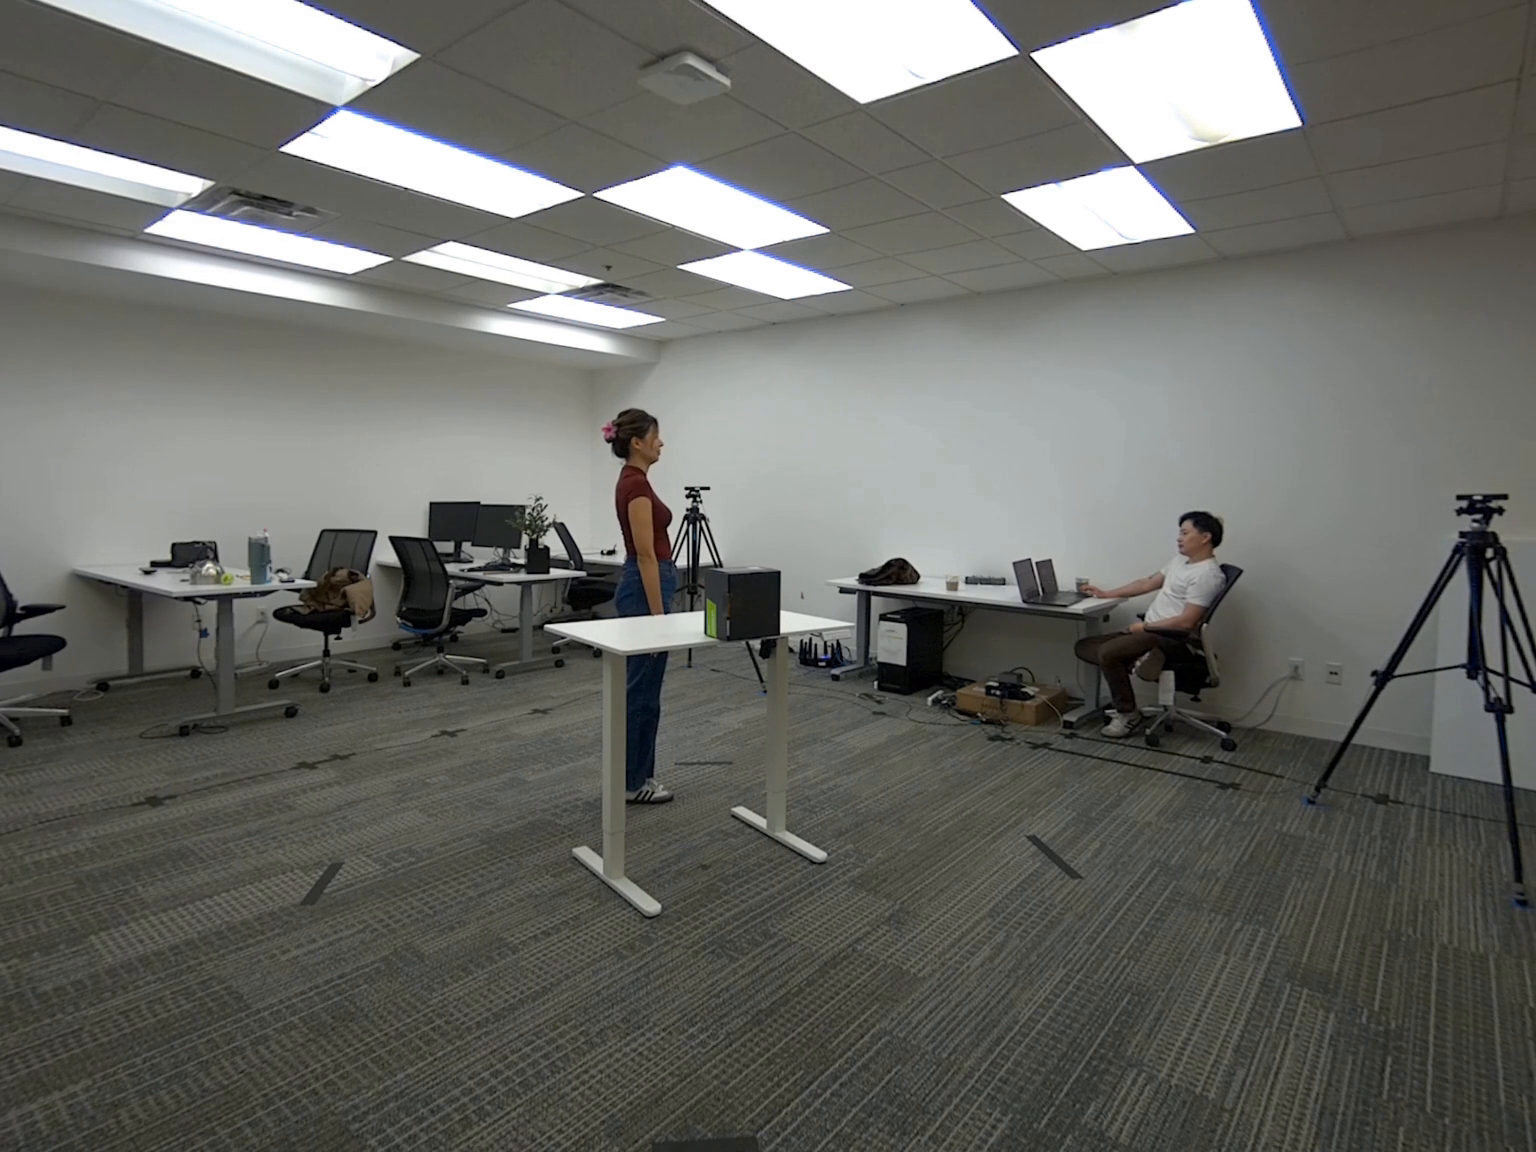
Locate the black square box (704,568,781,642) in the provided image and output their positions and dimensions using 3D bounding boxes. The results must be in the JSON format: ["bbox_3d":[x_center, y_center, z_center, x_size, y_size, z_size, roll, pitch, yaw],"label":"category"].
[{"bbox_3d":[-0.098,0.088,2.902,0.211,0.227,0.161,-2,4,-35],"label":"black square box"}]
